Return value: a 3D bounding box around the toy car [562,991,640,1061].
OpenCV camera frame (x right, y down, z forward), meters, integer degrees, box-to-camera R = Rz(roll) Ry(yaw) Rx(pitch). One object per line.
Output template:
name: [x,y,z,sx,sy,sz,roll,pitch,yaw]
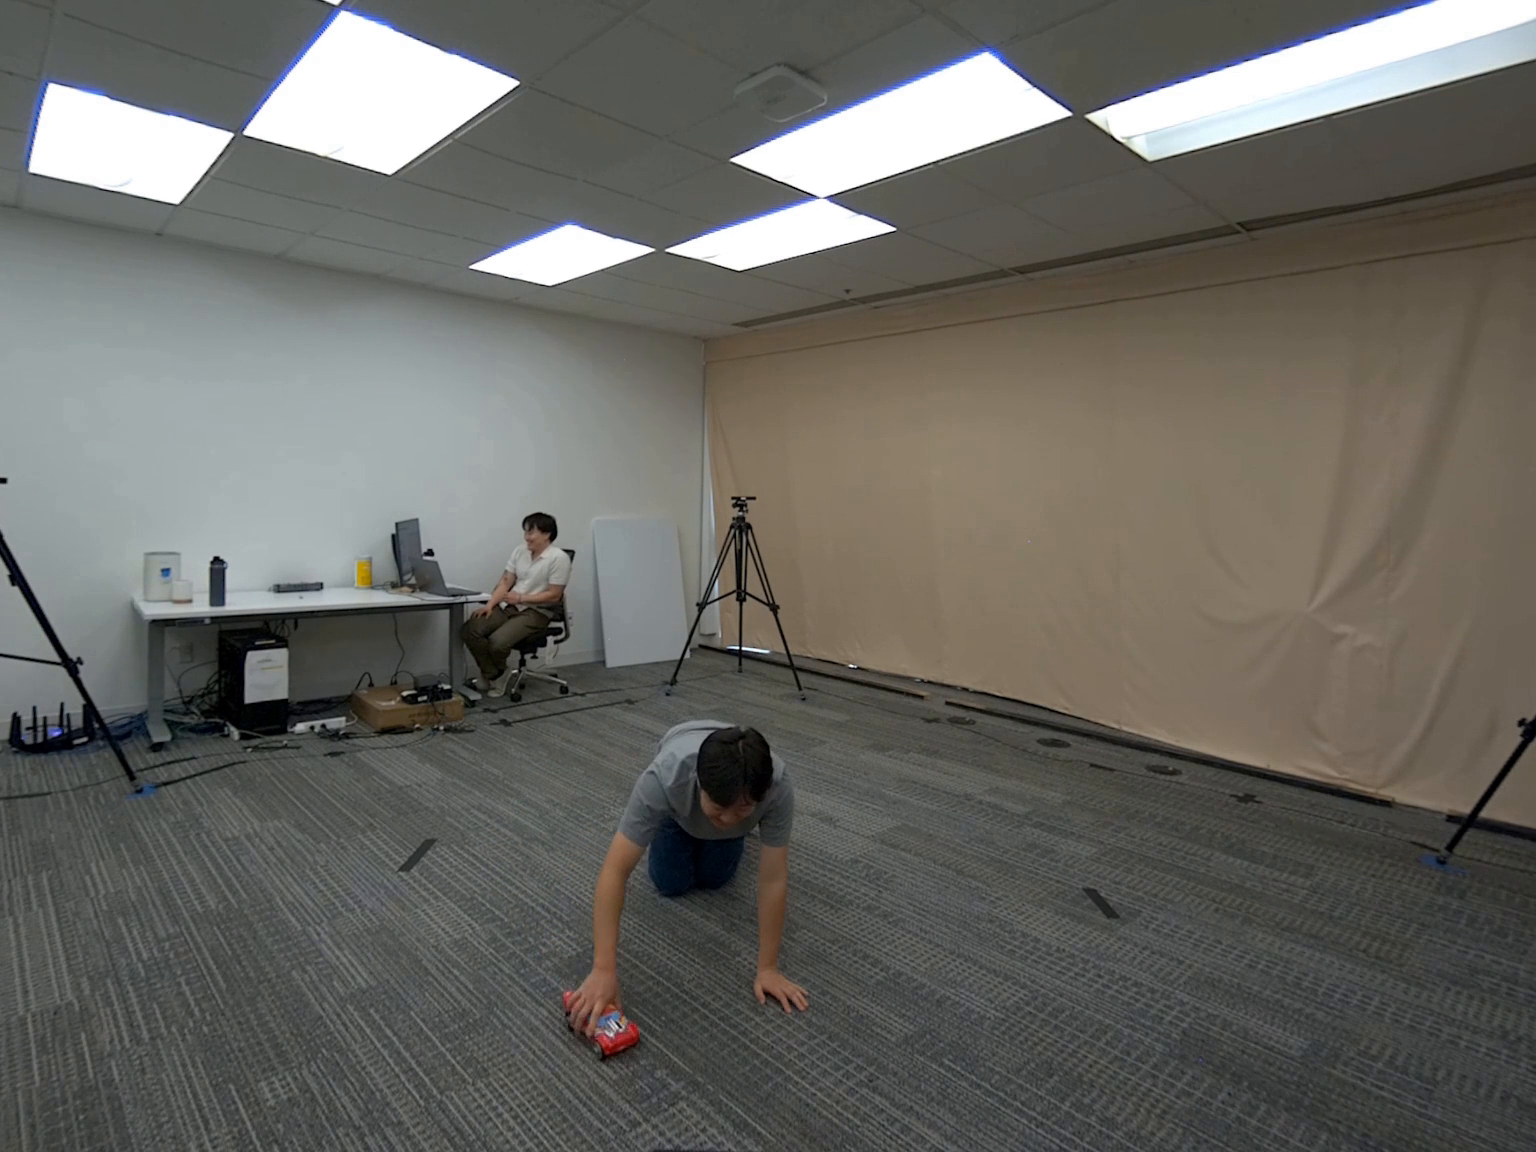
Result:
toy car: [-0.448,1.157,2.183,0.127,0.082,0.262,-3,17,-38]
